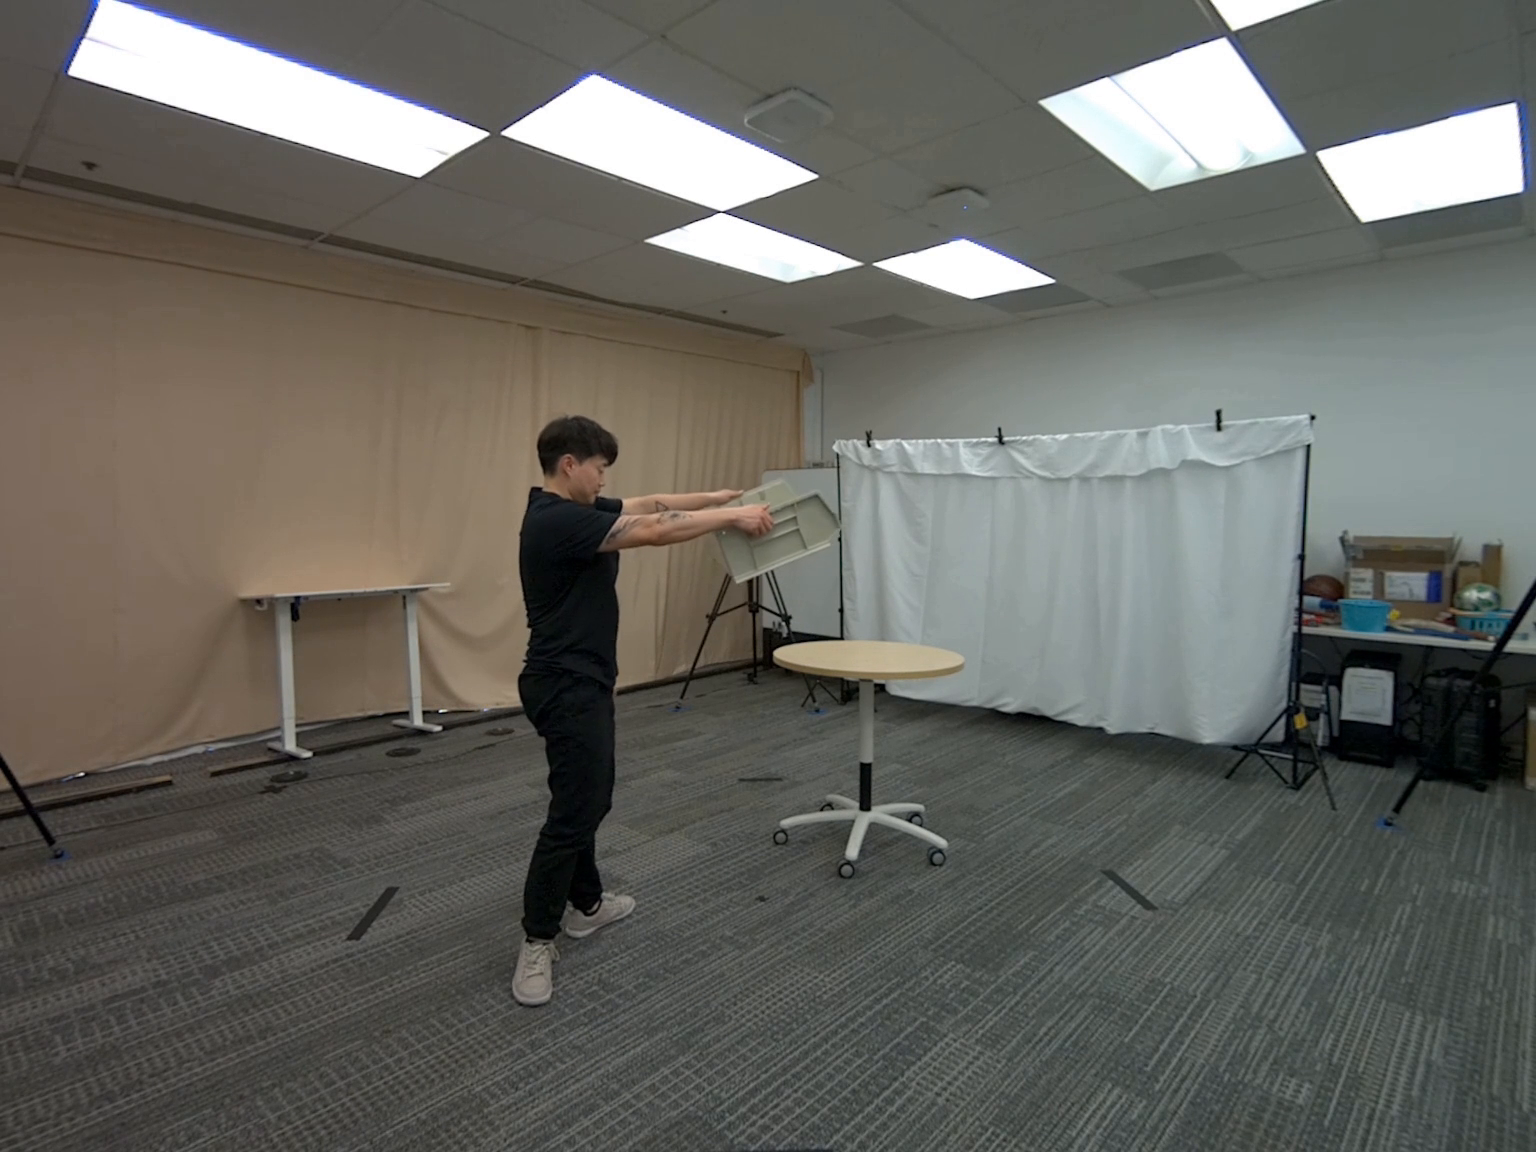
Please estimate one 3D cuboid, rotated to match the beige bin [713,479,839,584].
[{"bbox_3d":[-0.007,-0.156,2.717,0.375,0.186,0.430,-23,16,-8],"label":"beige bin"}]
